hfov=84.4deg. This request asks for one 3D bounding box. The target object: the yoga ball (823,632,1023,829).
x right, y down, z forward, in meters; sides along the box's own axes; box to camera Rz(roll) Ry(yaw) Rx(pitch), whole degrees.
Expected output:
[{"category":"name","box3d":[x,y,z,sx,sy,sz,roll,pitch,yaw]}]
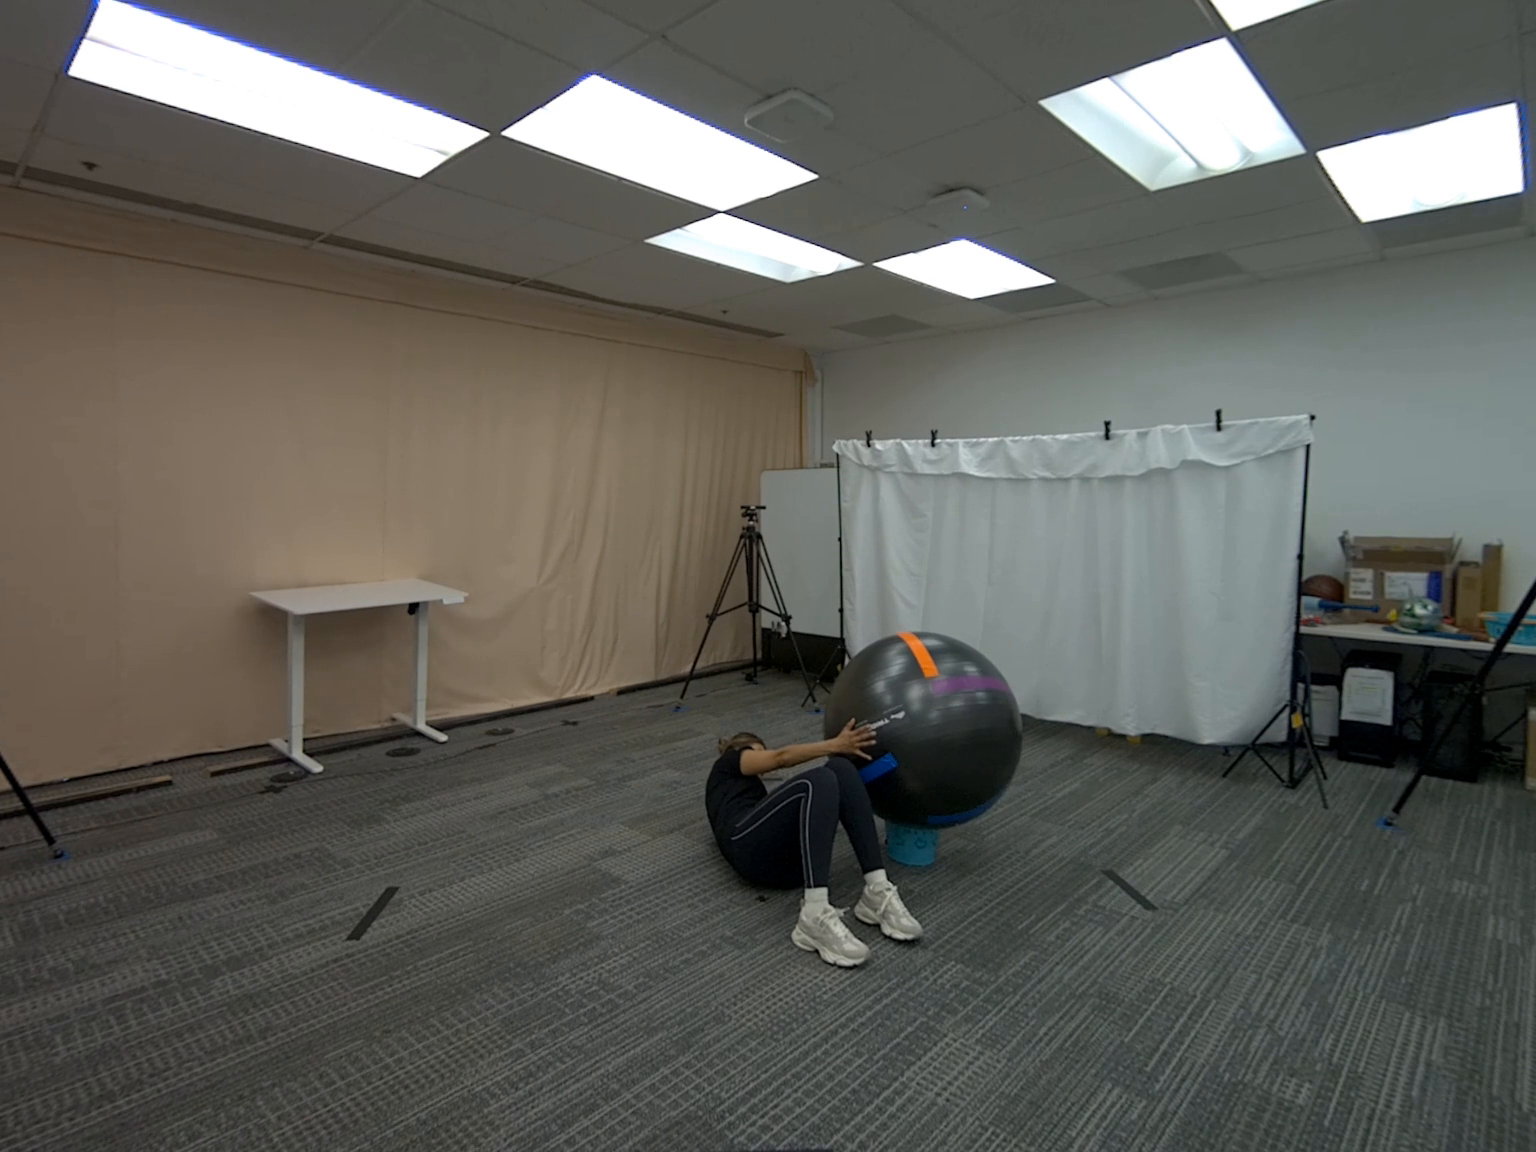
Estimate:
[{"category":"yoga ball","box3d":[0.601,0.605,3.309,0.757,0.756,0.761,3,5,-2]}]
